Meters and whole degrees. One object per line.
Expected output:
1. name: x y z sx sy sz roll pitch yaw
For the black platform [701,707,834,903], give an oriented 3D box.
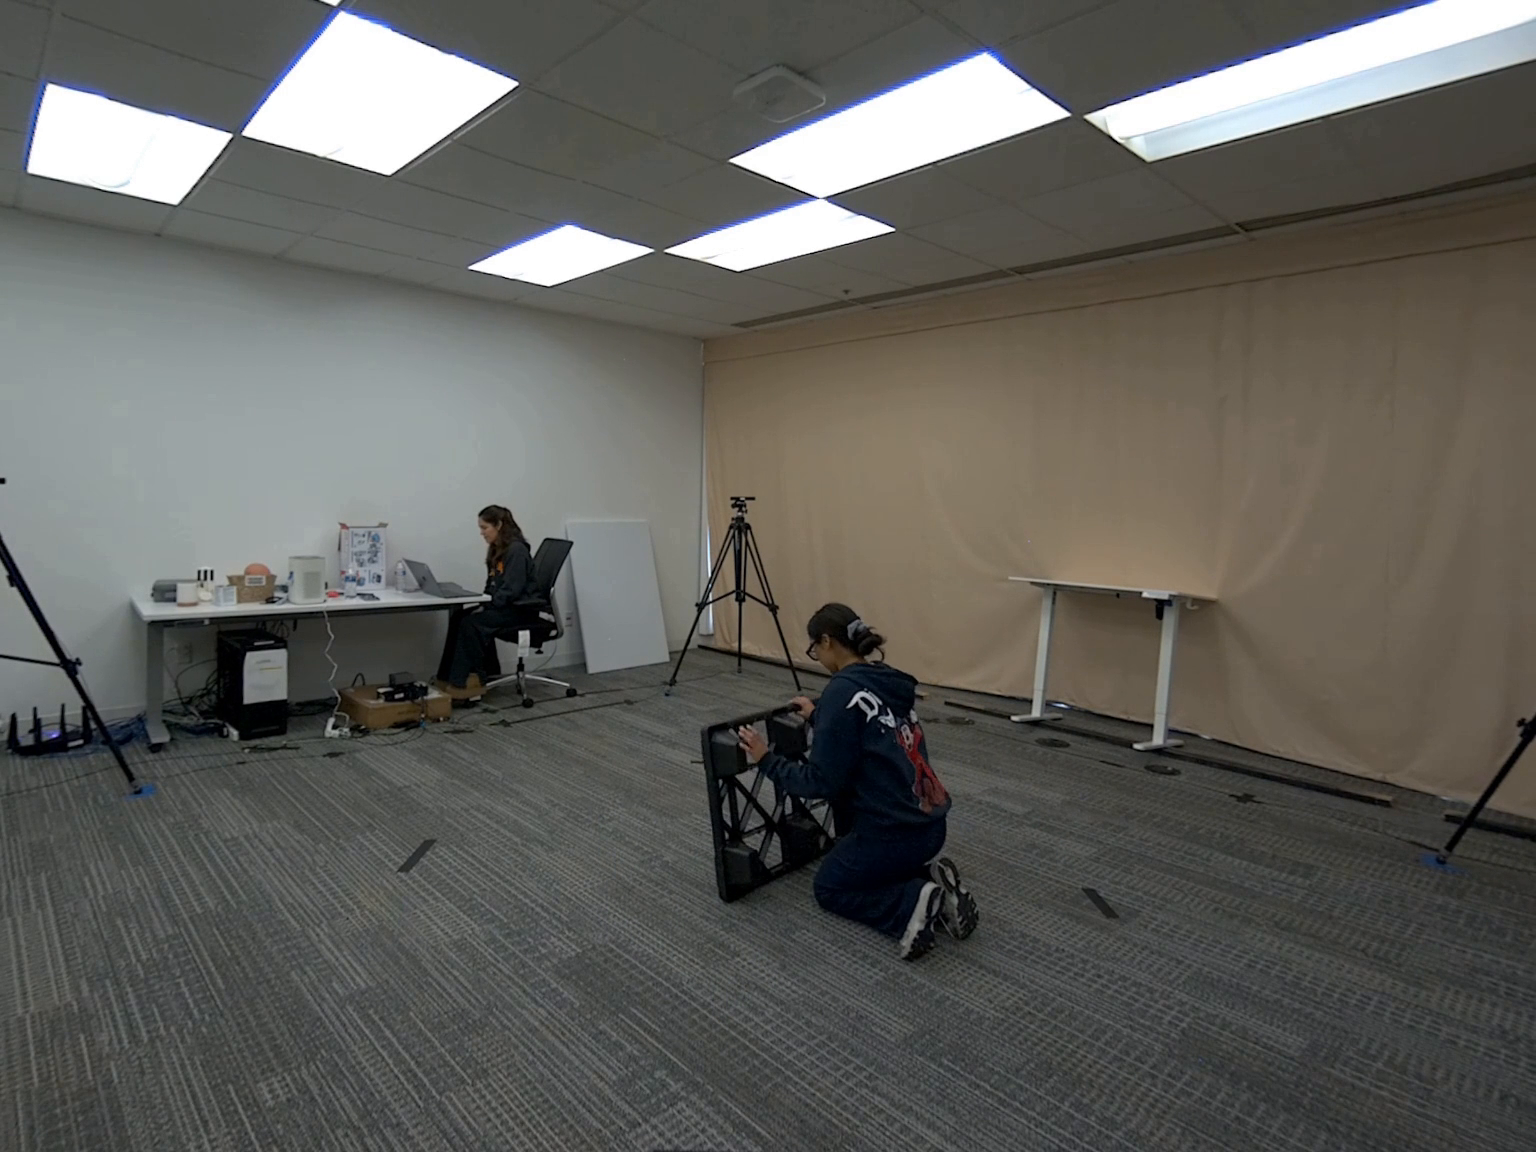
1. black platform: 0.091 0.803 3.180 0.146 0.607 0.788 -12 -5 41
